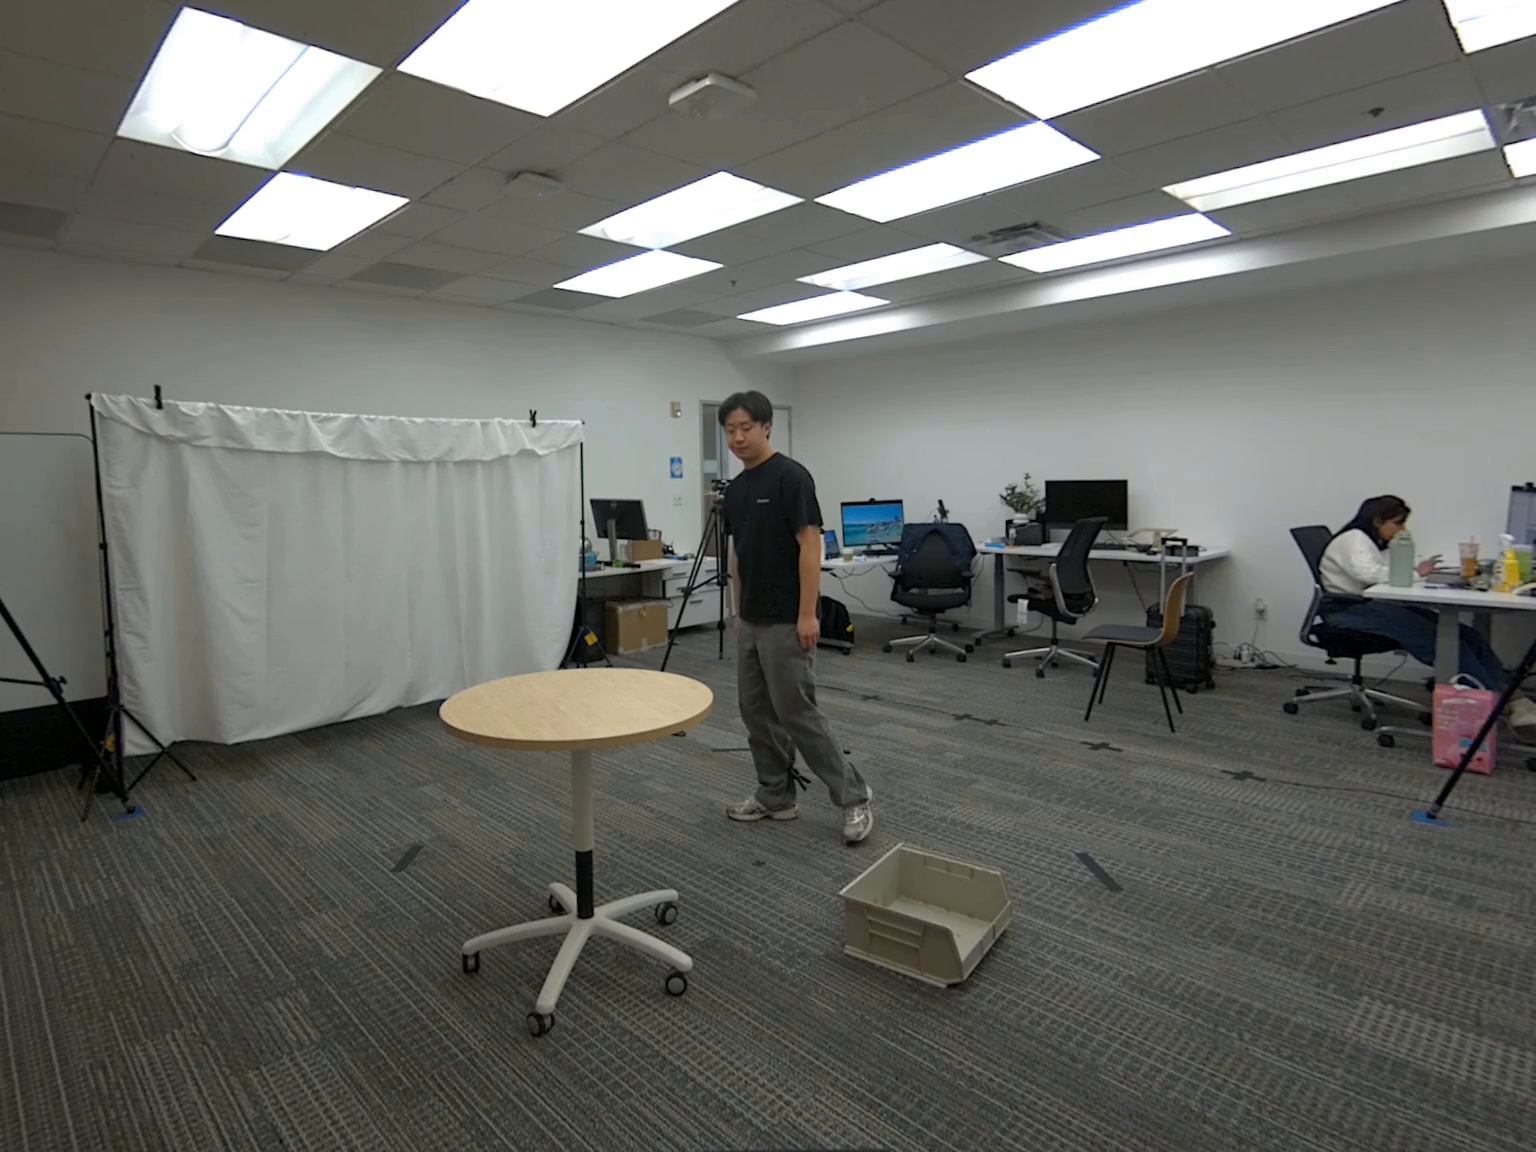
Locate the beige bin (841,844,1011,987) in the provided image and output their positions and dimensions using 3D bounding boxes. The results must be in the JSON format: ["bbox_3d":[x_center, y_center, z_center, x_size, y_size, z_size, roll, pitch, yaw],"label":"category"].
[{"bbox_3d":[0.484,1.009,2.565,0.388,0.188,0.412,2,7,36],"label":"beige bin"}]
